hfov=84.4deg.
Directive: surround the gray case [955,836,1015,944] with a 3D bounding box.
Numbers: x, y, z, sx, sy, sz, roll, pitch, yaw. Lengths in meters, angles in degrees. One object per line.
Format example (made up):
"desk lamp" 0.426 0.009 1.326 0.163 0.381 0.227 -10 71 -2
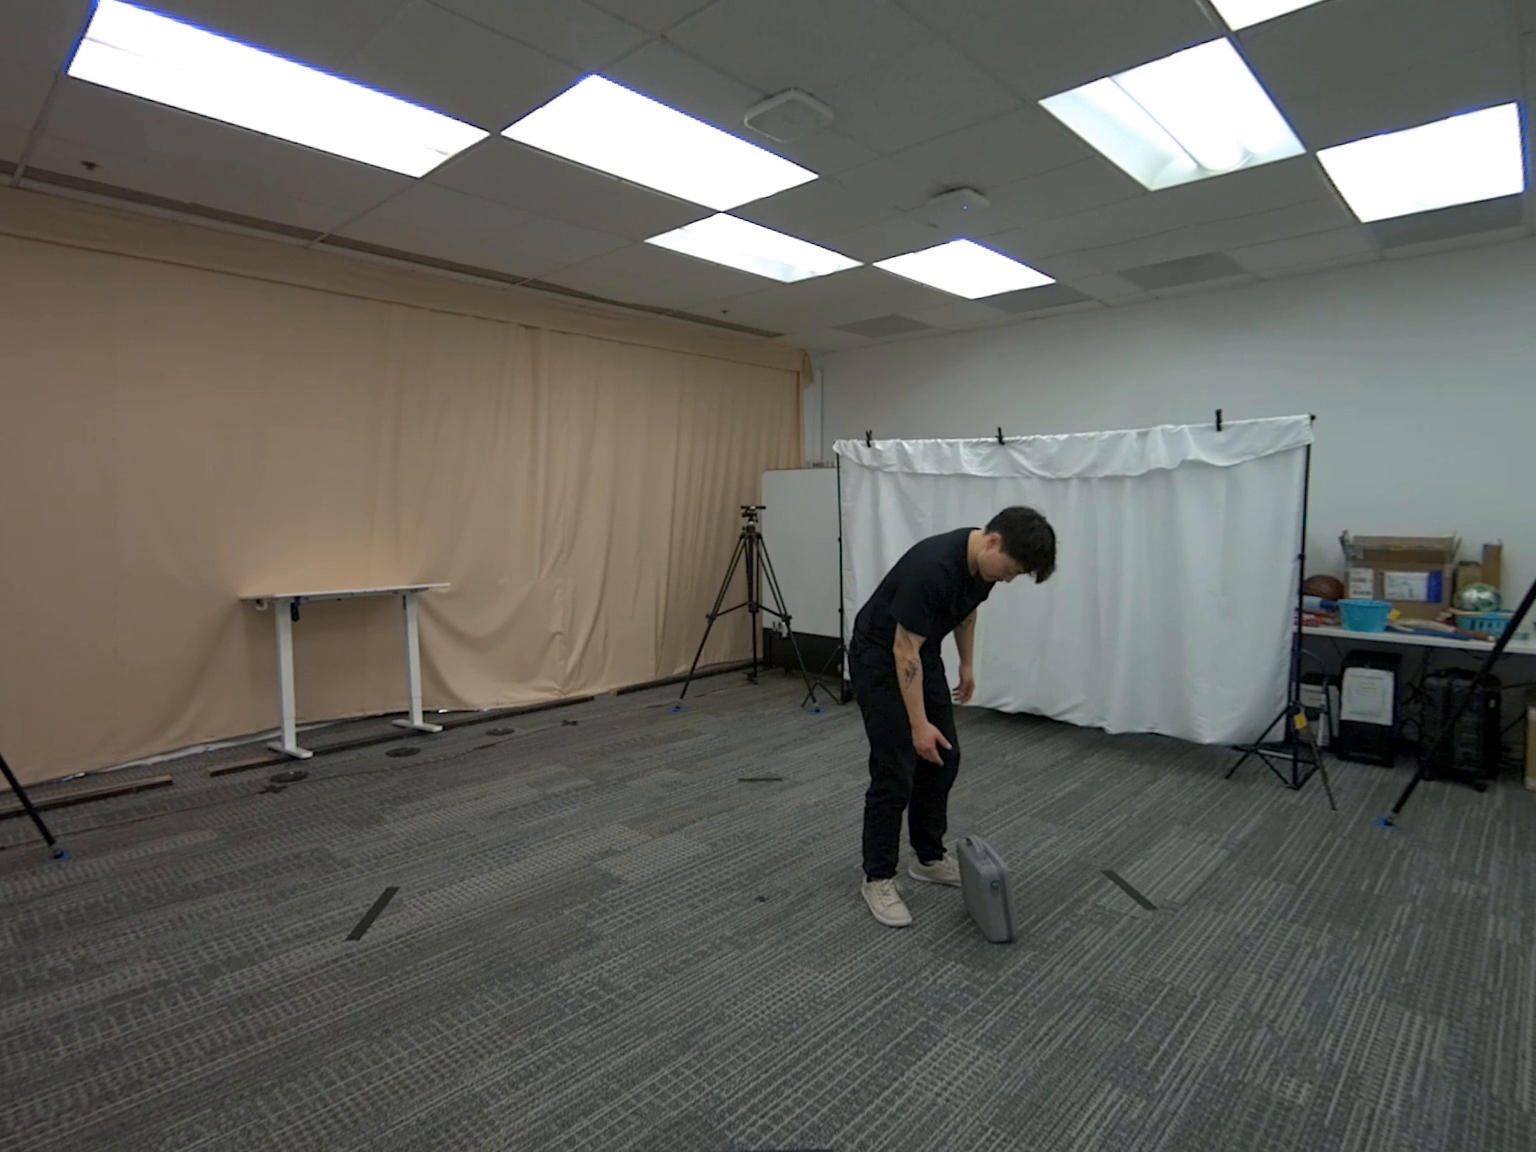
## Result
"gray case" 0.724 1.024 2.774 0.104 0.259 0.259 -8 6 -4
